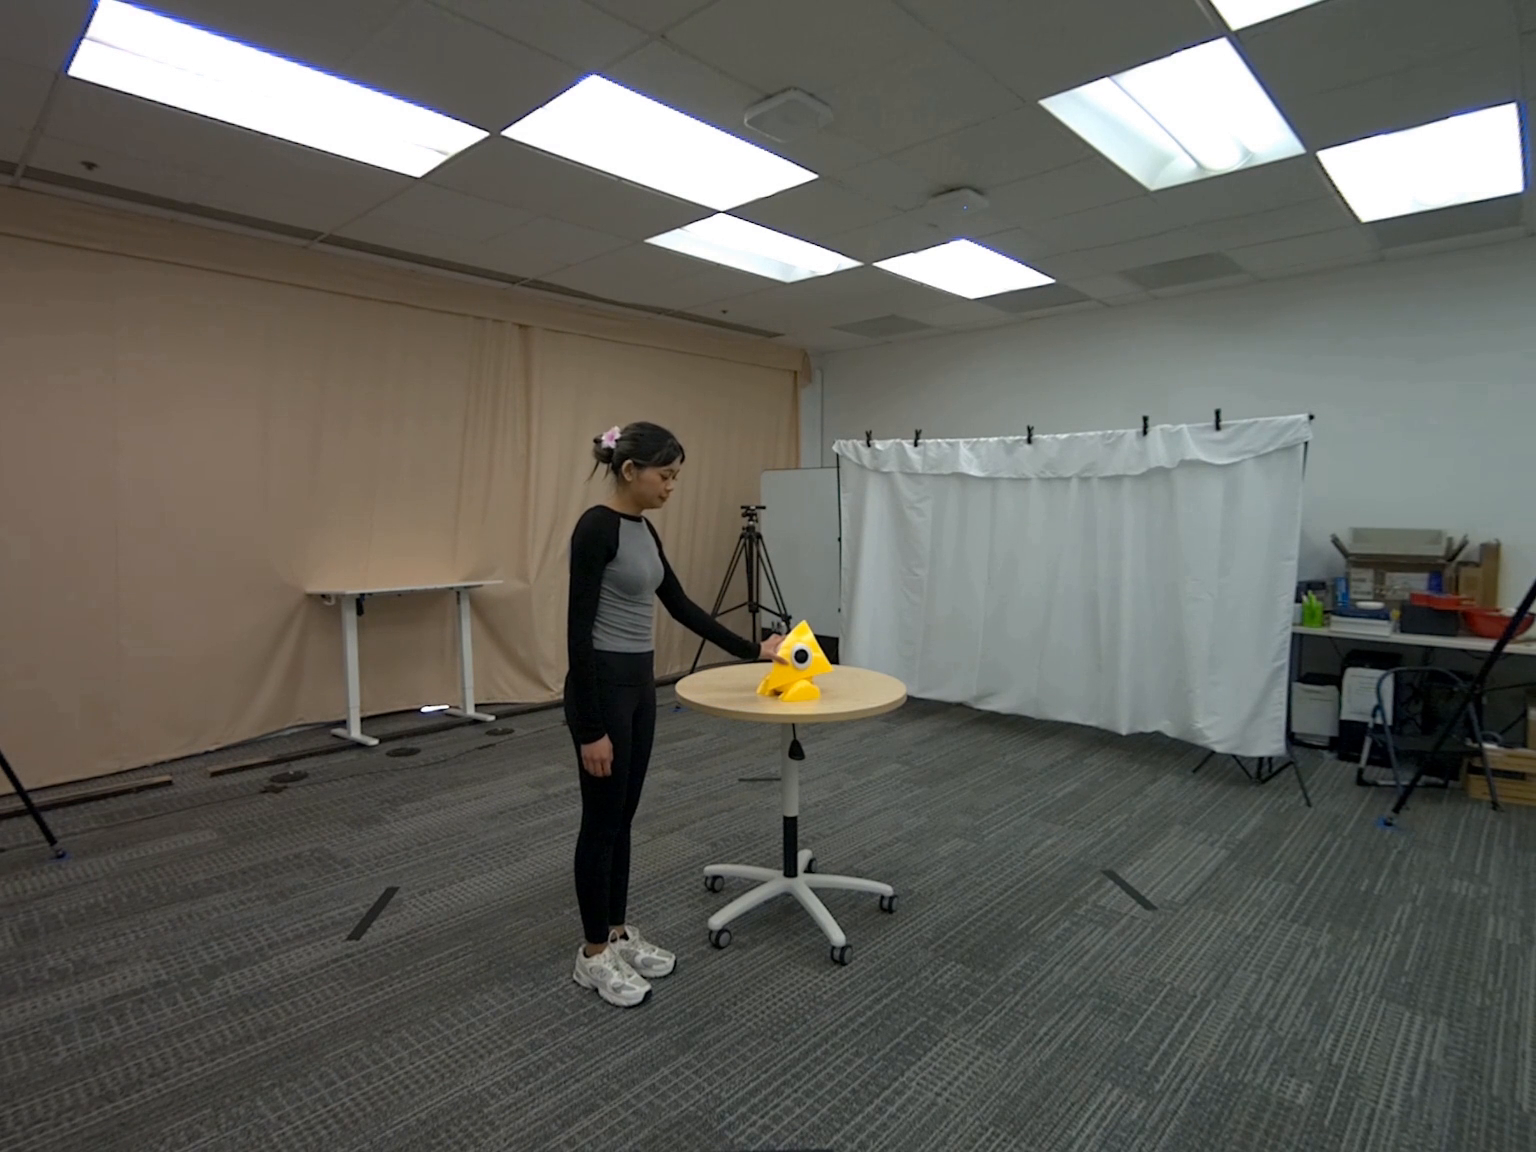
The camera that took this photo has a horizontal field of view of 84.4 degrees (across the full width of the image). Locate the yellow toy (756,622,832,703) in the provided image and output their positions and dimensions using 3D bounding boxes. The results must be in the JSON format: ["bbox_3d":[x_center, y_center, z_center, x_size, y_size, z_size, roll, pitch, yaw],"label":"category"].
[{"bbox_3d":[0.074,0.265,2.689,0.187,0.230,0.211,-5,6,-37],"label":"yellow toy"}]
